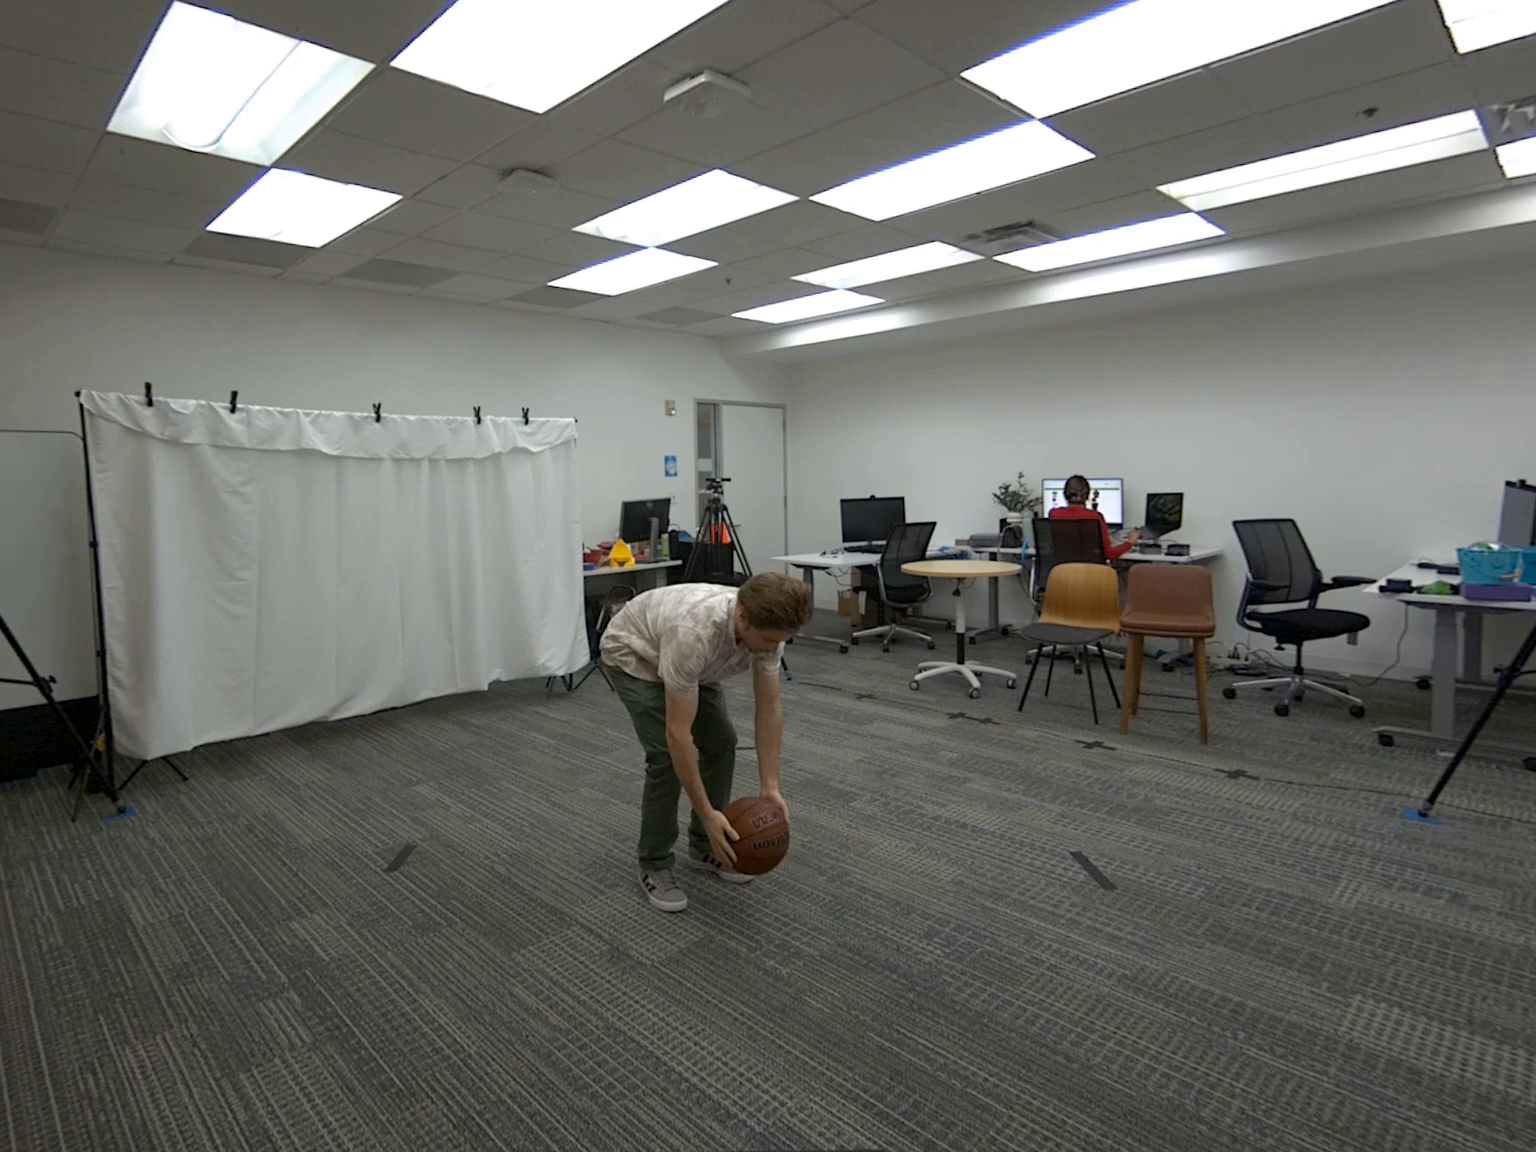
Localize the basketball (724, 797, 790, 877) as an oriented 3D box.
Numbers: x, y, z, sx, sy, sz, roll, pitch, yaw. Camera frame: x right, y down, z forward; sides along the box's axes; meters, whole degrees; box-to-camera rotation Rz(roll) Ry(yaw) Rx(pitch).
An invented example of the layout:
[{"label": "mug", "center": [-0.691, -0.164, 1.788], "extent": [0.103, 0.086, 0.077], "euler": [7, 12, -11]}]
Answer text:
[{"label": "basketball", "center": [-0.054, 0.822, 2.725], "extent": [0.236, 0.235, 0.237], "euler": [-1, 5, -2]}]
